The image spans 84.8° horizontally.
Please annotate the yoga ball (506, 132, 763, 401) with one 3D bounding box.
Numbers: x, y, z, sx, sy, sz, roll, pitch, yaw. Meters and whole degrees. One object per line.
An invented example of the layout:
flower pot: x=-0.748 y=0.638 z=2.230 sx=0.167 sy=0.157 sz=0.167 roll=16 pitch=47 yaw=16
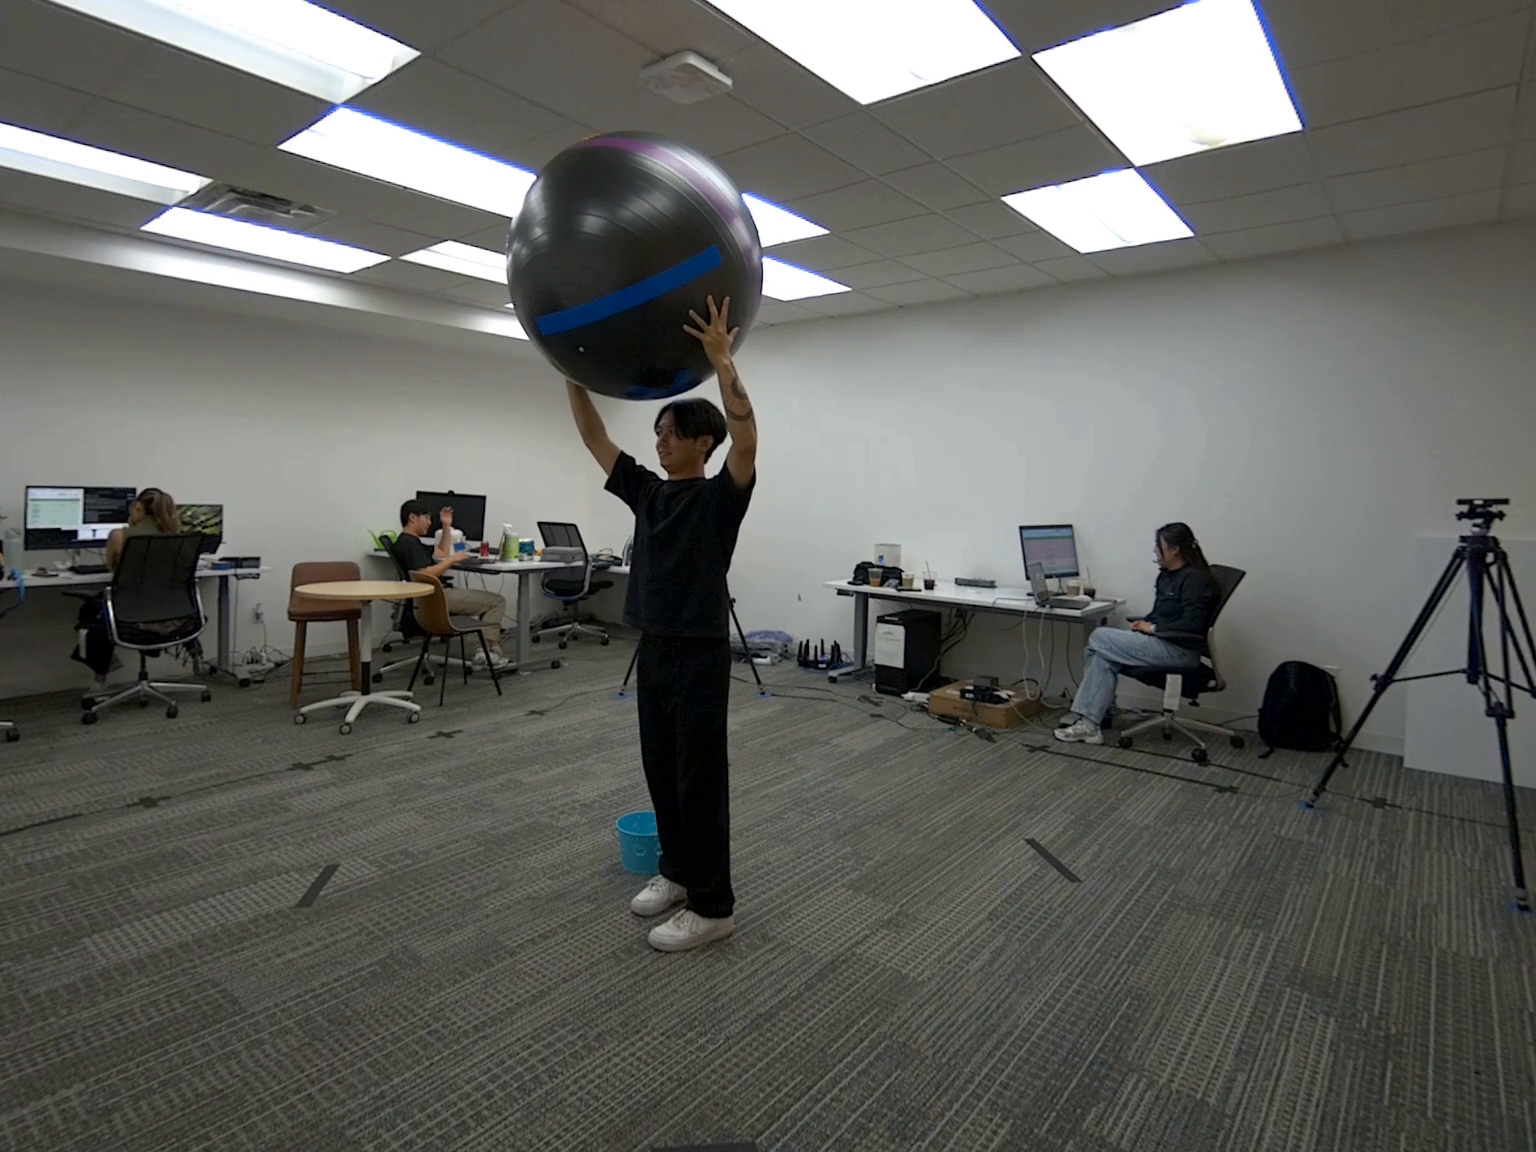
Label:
yoga ball: x=-0.399 y=-0.906 z=2.527 sx=0.757 sy=0.755 sz=0.762 roll=1 pitch=4 yaw=-2
